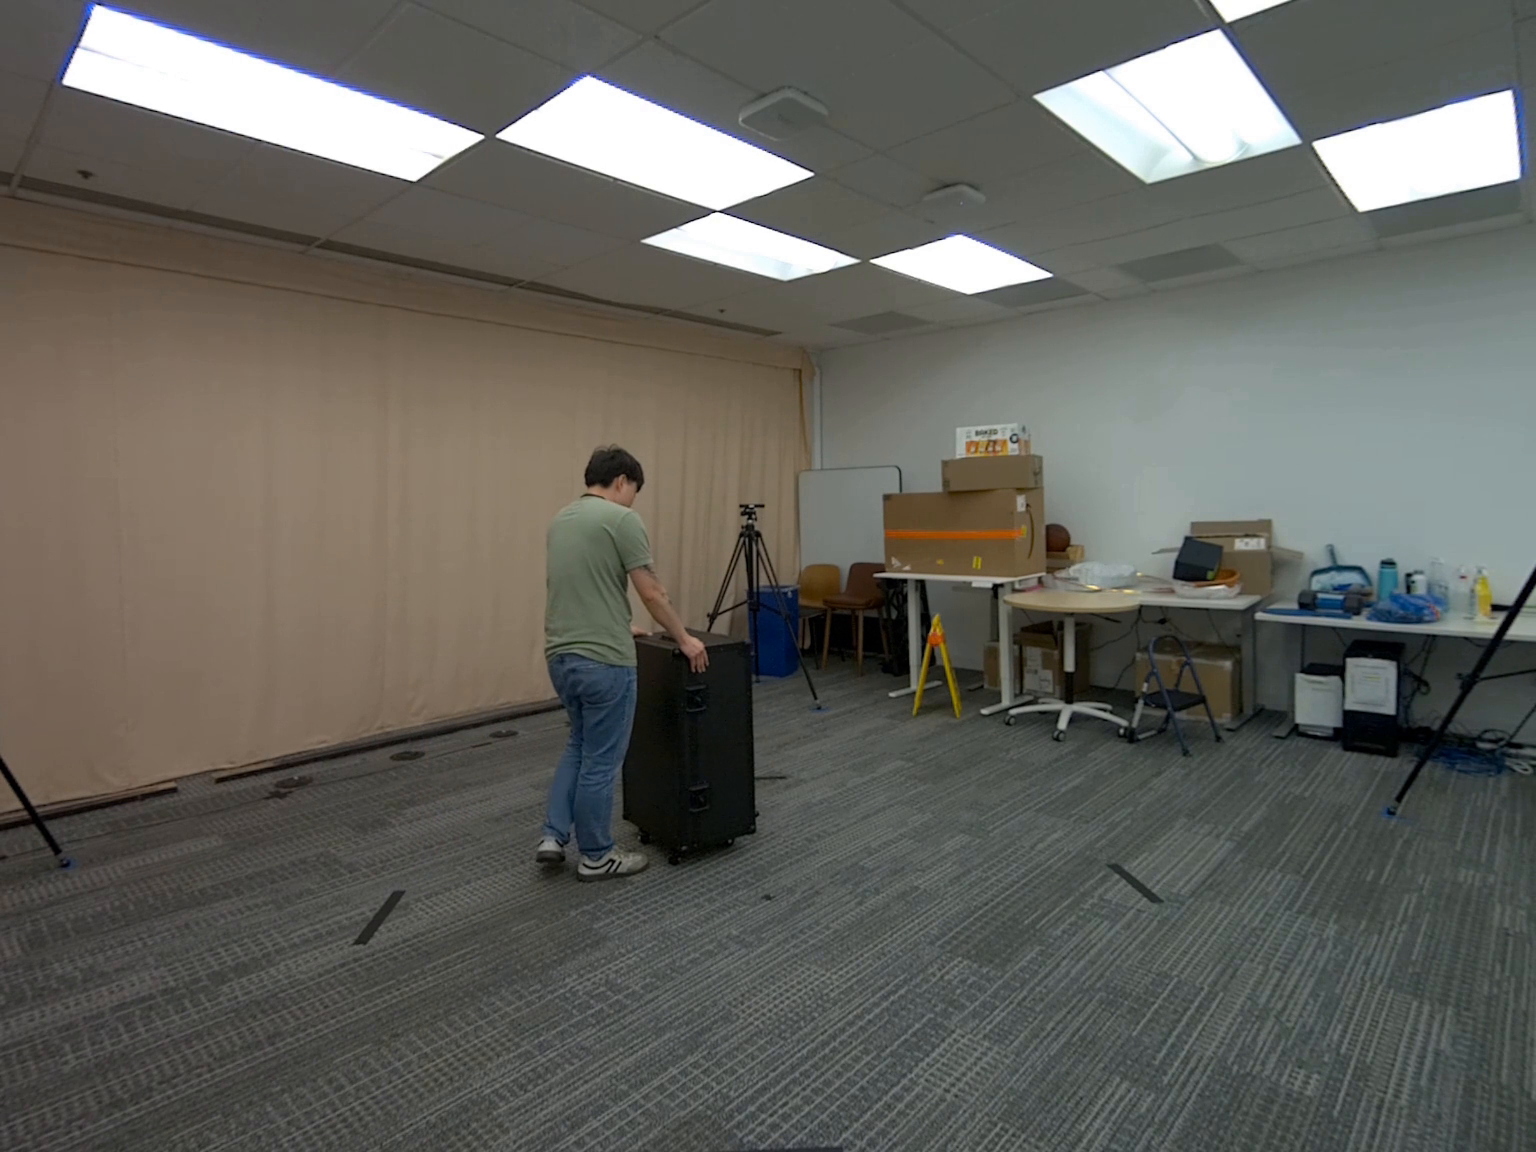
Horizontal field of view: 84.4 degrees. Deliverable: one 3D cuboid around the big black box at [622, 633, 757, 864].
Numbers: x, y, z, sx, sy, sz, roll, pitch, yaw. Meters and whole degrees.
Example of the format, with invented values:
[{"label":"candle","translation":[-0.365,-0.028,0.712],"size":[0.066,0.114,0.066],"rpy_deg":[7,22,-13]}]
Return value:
[{"label":"big black box","translation":[-0.332,0.678,3.487],"size":[0.385,0.860,0.537],"rpy_deg":[-2,3,-36]}]
